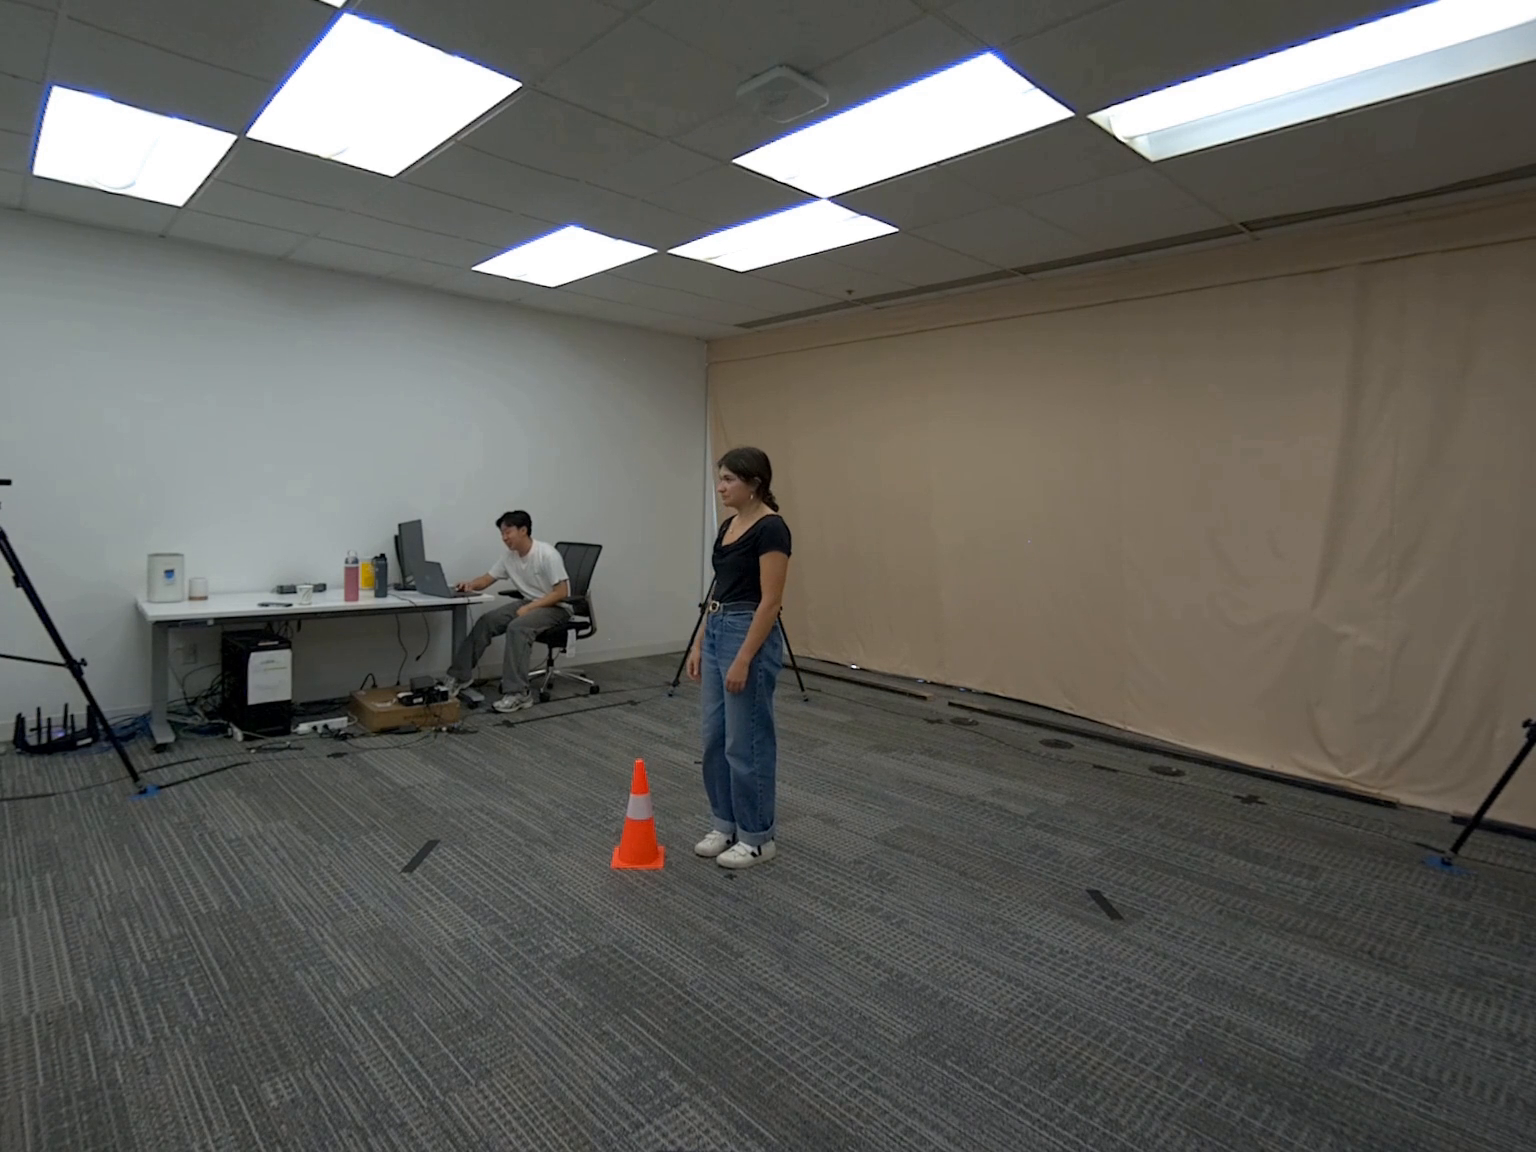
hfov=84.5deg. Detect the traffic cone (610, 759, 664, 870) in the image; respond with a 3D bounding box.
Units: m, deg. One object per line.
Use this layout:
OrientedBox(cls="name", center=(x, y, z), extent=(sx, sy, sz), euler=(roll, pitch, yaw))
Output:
OrientedBox(cls="traffic cone", center=(-0.505, 0.900, 3.242), extent=(0.204, 0.382, 0.204), euler=(1, 4, -5))
